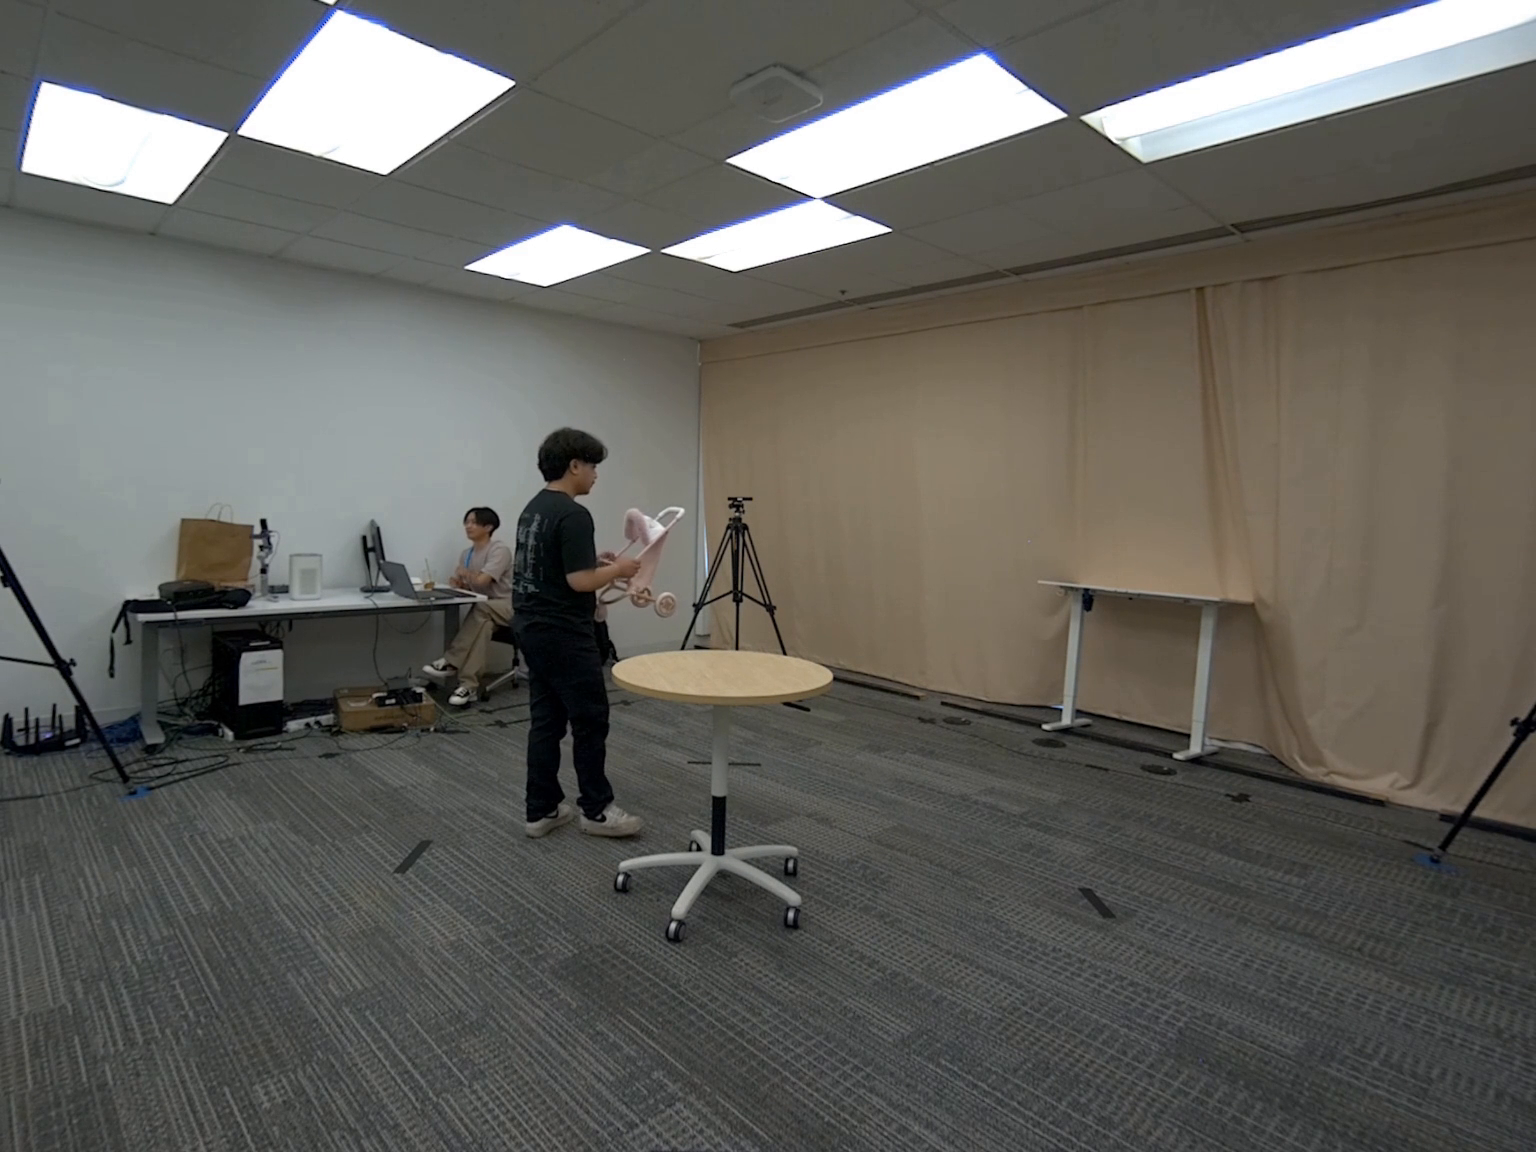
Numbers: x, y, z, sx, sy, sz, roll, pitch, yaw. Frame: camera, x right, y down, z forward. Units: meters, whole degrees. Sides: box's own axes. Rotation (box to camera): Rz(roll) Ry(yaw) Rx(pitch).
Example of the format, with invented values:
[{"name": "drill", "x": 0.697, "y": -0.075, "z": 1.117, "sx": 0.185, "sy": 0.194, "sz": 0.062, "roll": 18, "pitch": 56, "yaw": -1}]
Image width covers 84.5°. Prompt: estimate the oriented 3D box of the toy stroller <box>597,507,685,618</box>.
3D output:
[{"name": "toy stroller", "x": -0.591, "y": -0.054, "z": 3.697, "sx": 0.334, "sy": 0.534, "sz": 0.288, "roll": 6, "pitch": 3, "yaw": -27}]
